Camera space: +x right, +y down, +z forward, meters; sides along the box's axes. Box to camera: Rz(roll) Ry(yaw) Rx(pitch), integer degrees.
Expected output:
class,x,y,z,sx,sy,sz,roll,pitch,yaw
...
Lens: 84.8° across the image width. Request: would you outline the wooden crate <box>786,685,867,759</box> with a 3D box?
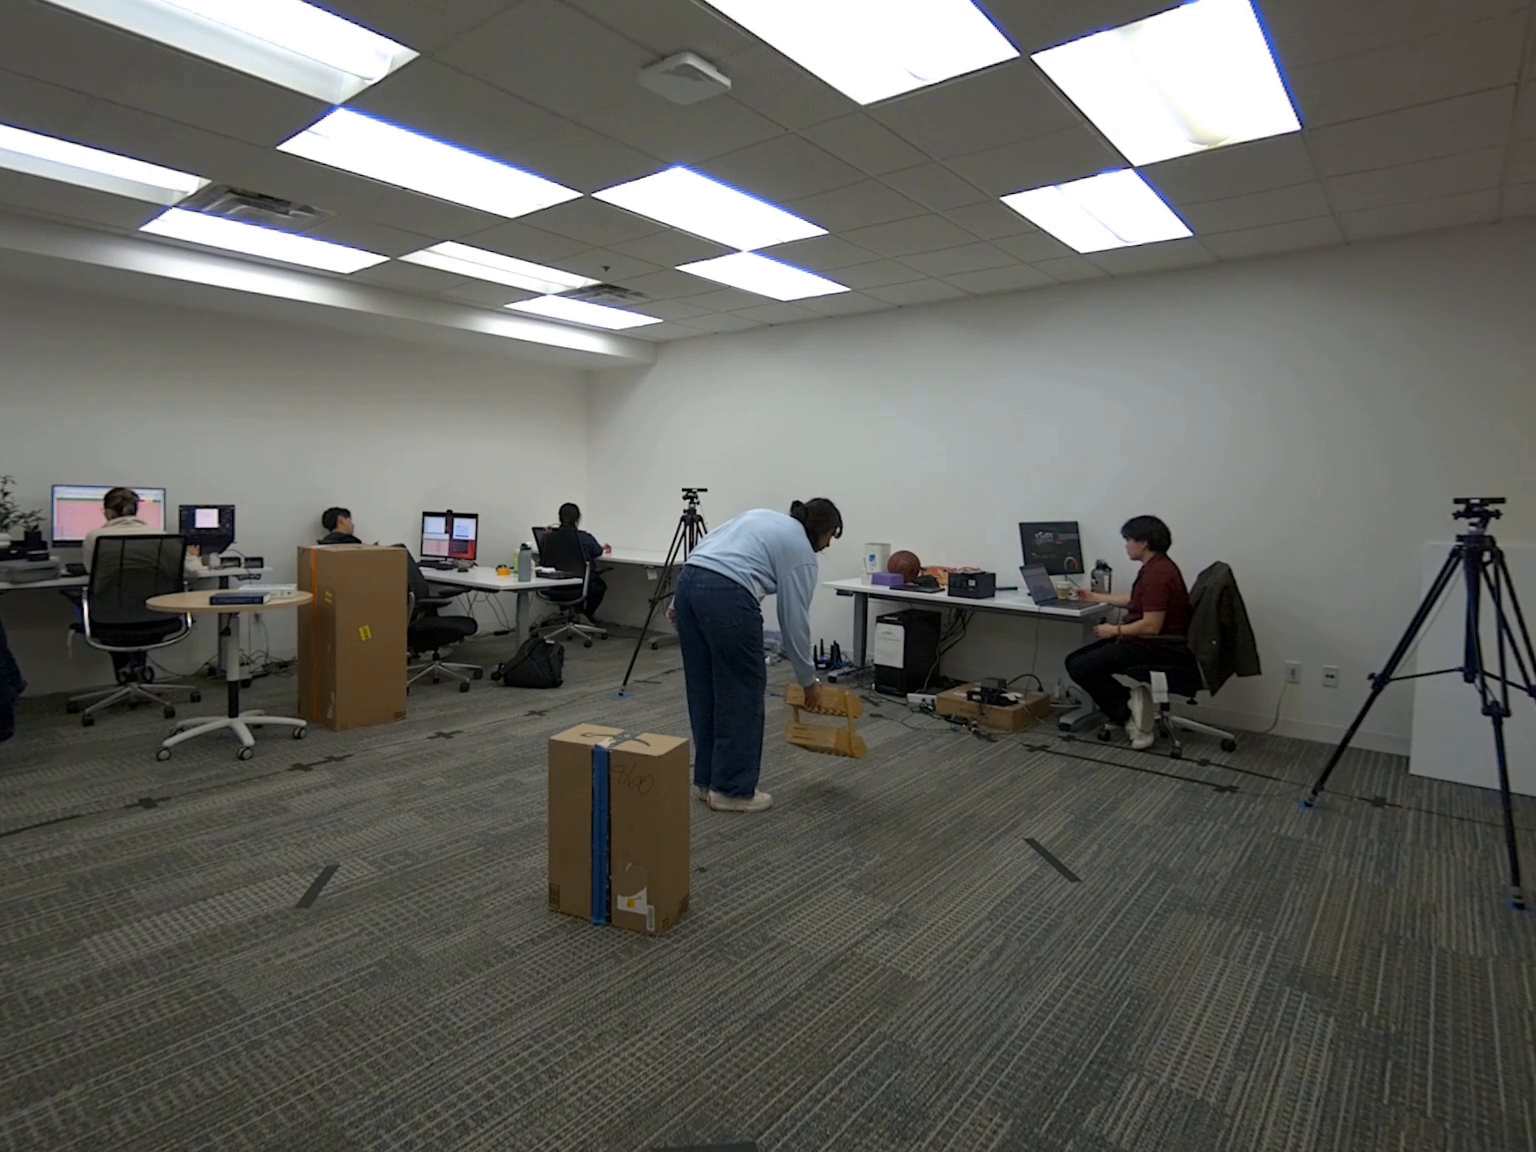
class,x,y,z,sx,sy,sz,roll,pitch,yaw
wooden crate,0.265,0.671,3.963,0.334,0.276,0.289,-2,-22,41
